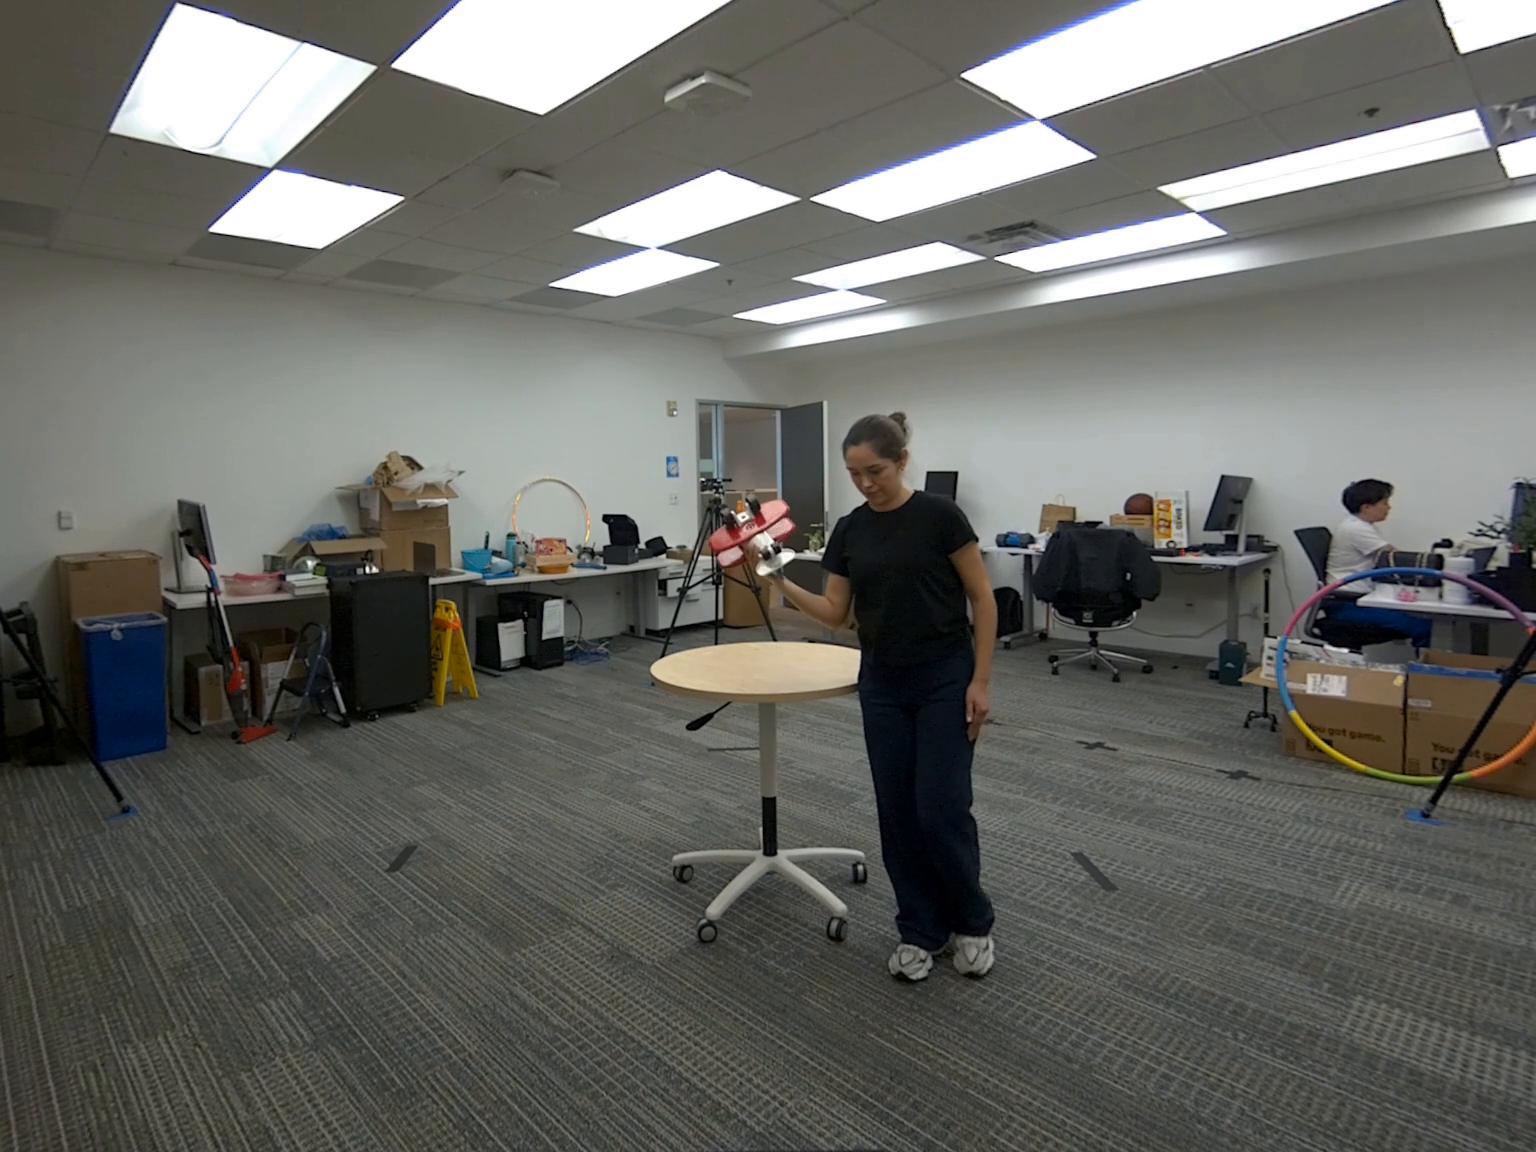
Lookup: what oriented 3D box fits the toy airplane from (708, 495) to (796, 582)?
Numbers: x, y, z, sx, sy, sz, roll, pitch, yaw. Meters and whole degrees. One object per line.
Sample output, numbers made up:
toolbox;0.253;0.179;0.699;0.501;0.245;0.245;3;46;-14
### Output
toy airplane;-0.034;-0.096;2.482;0.253;0.266;0.151;-6;-32;7
